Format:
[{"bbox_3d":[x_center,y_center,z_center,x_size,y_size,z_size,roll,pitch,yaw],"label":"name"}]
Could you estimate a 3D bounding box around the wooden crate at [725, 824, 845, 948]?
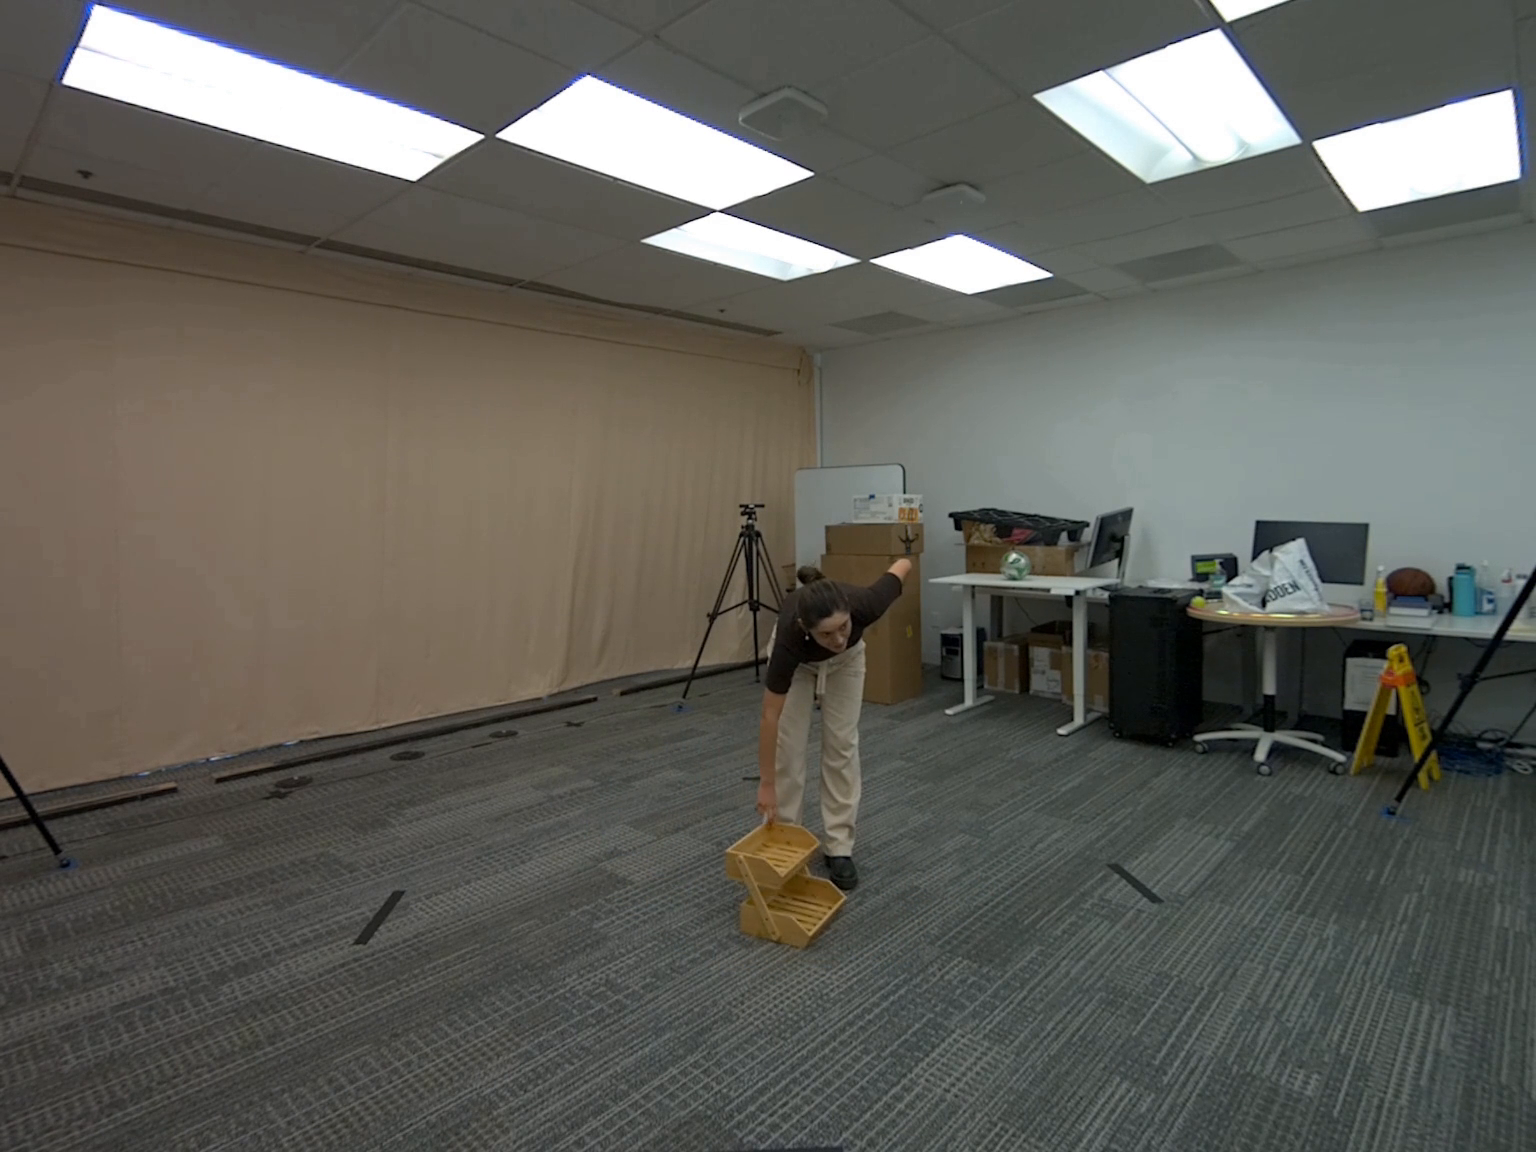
[{"bbox_3d":[0.069,1.015,2.817,0.310,0.273,0.316,0,3,29],"label":"wooden crate"}]
